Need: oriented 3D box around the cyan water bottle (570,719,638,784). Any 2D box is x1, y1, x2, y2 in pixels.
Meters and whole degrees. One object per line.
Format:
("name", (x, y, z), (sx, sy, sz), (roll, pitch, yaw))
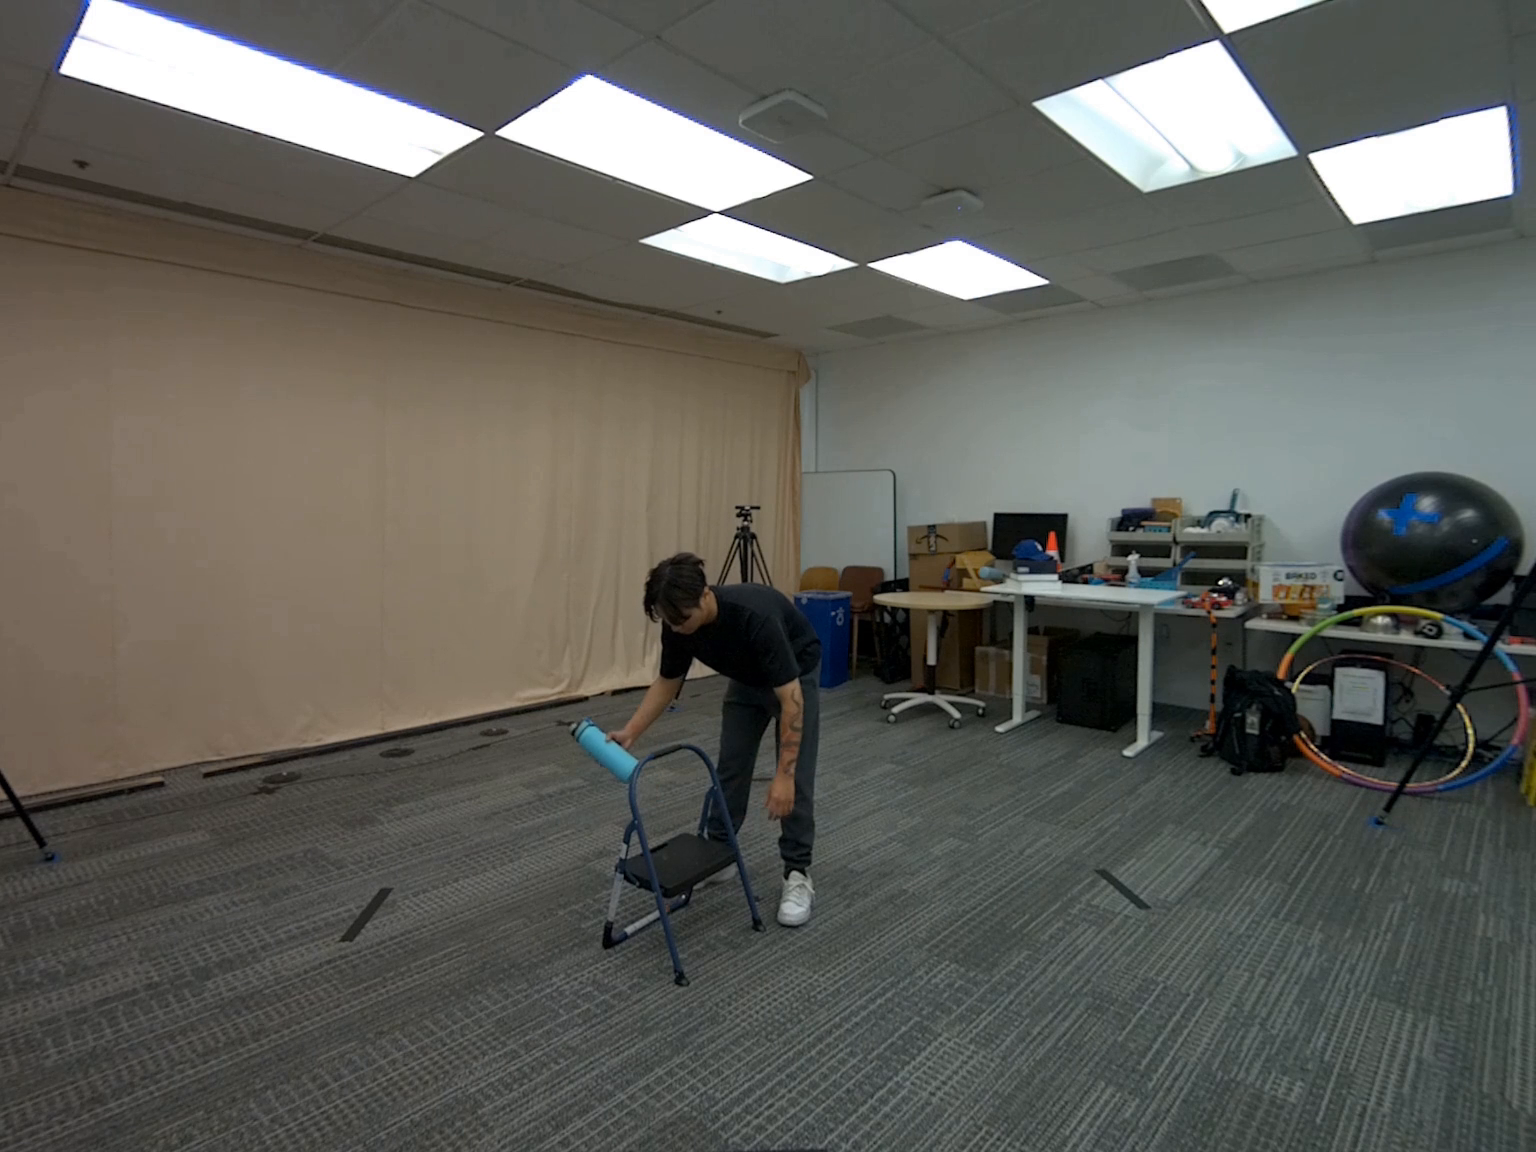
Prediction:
("cyan water bottle", (-0.565, 0.609, 2.947), (0.290, 0.092, 0.090), (35, 15, 18))
